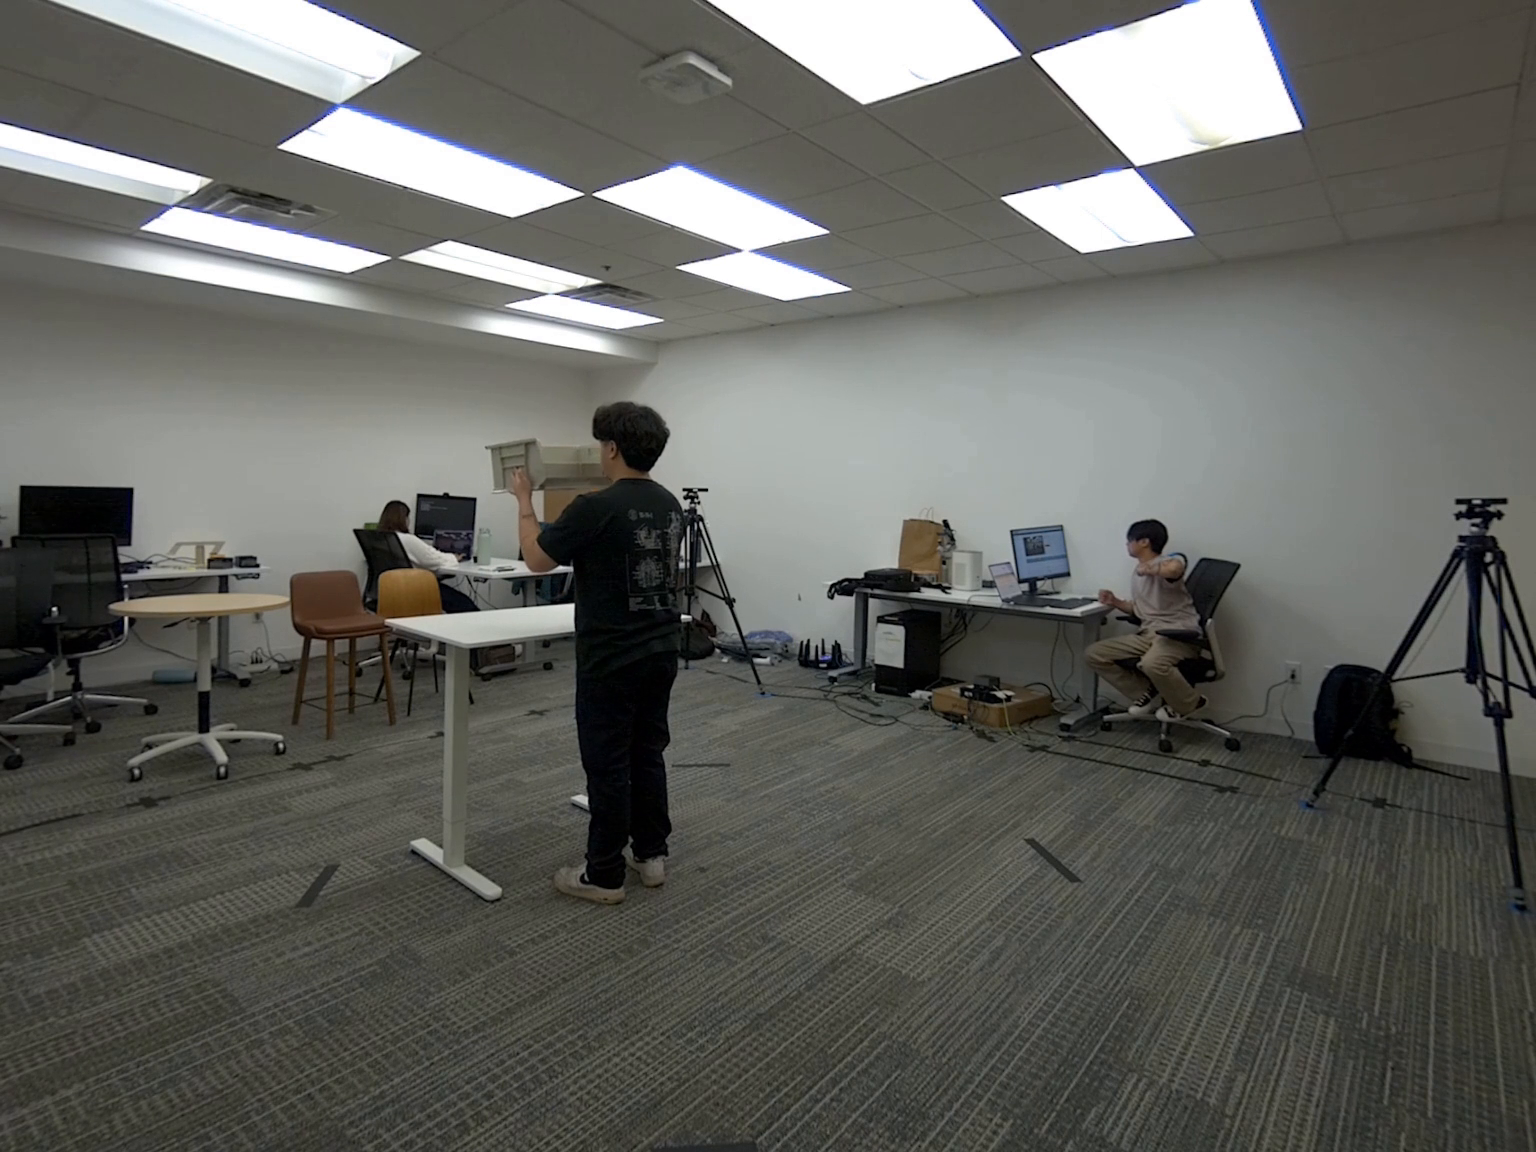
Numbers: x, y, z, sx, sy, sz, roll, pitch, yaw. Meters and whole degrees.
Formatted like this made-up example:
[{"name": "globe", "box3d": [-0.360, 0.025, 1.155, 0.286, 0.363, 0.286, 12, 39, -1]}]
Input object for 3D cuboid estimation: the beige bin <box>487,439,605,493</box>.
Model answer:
[{"name": "beige bin", "box3d": [-0.778, -0.412, 3.172, 0.389, 0.188, 0.410, 2, 6, 43]}]
